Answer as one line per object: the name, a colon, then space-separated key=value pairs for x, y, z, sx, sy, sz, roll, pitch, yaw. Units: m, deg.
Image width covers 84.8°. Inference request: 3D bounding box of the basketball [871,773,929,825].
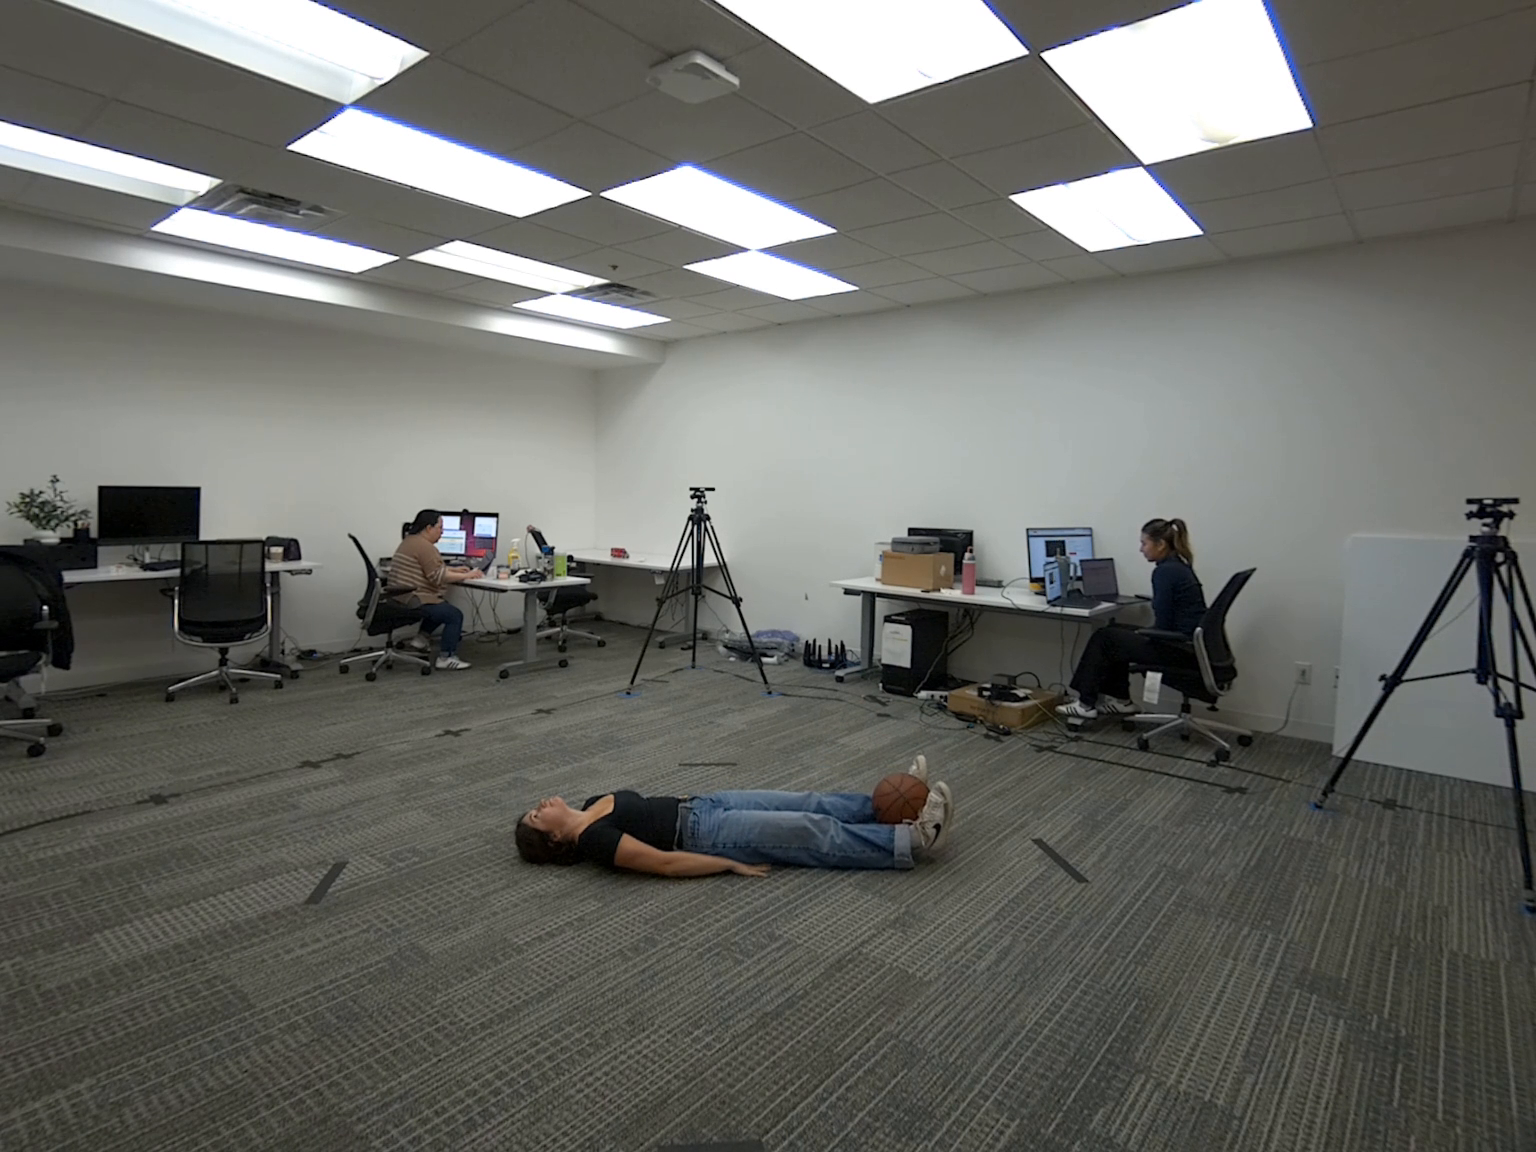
basketball: x=0.517 y=0.883 z=3.327 sx=0.235 sy=0.235 sz=0.237 roll=1 pitch=4 yaw=-2
